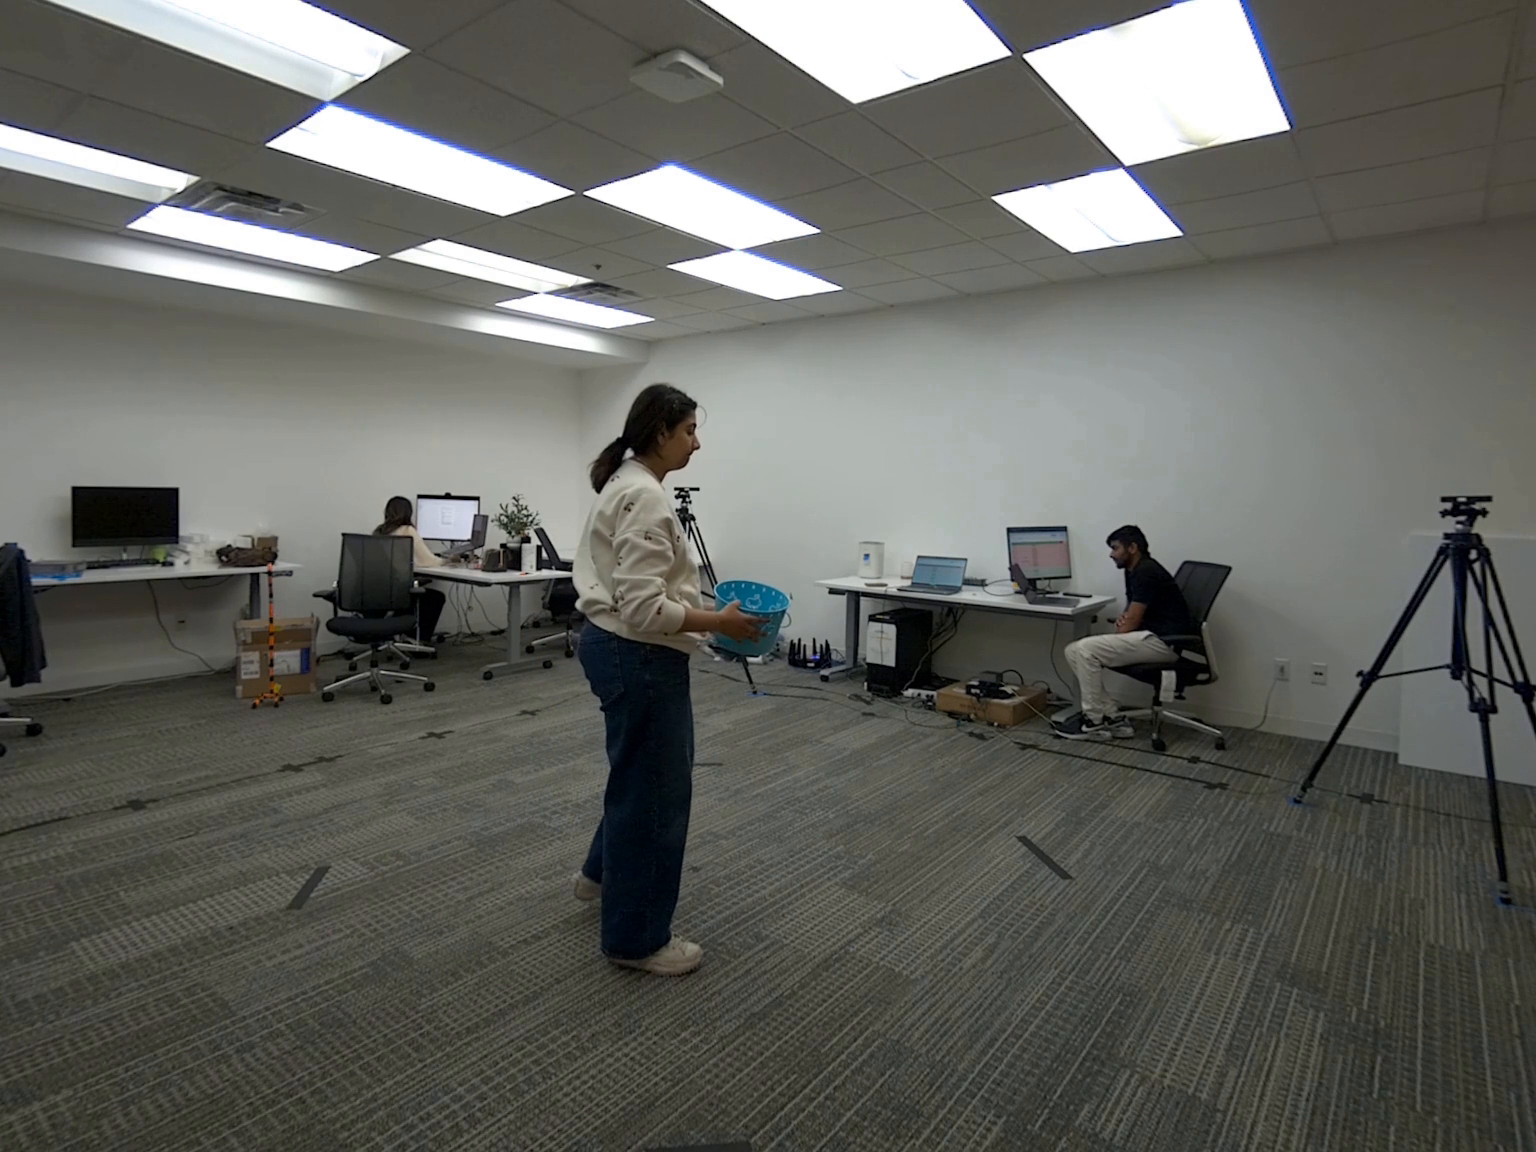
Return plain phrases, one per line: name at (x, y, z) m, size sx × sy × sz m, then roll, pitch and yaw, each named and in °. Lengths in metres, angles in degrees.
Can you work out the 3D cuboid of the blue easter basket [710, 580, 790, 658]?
blue easter basket at (-0.066, 0.133, 2.531) m, size 0.242 × 0.153 × 0.249 m, roll 8°, pitch 23°, yaw -5°
